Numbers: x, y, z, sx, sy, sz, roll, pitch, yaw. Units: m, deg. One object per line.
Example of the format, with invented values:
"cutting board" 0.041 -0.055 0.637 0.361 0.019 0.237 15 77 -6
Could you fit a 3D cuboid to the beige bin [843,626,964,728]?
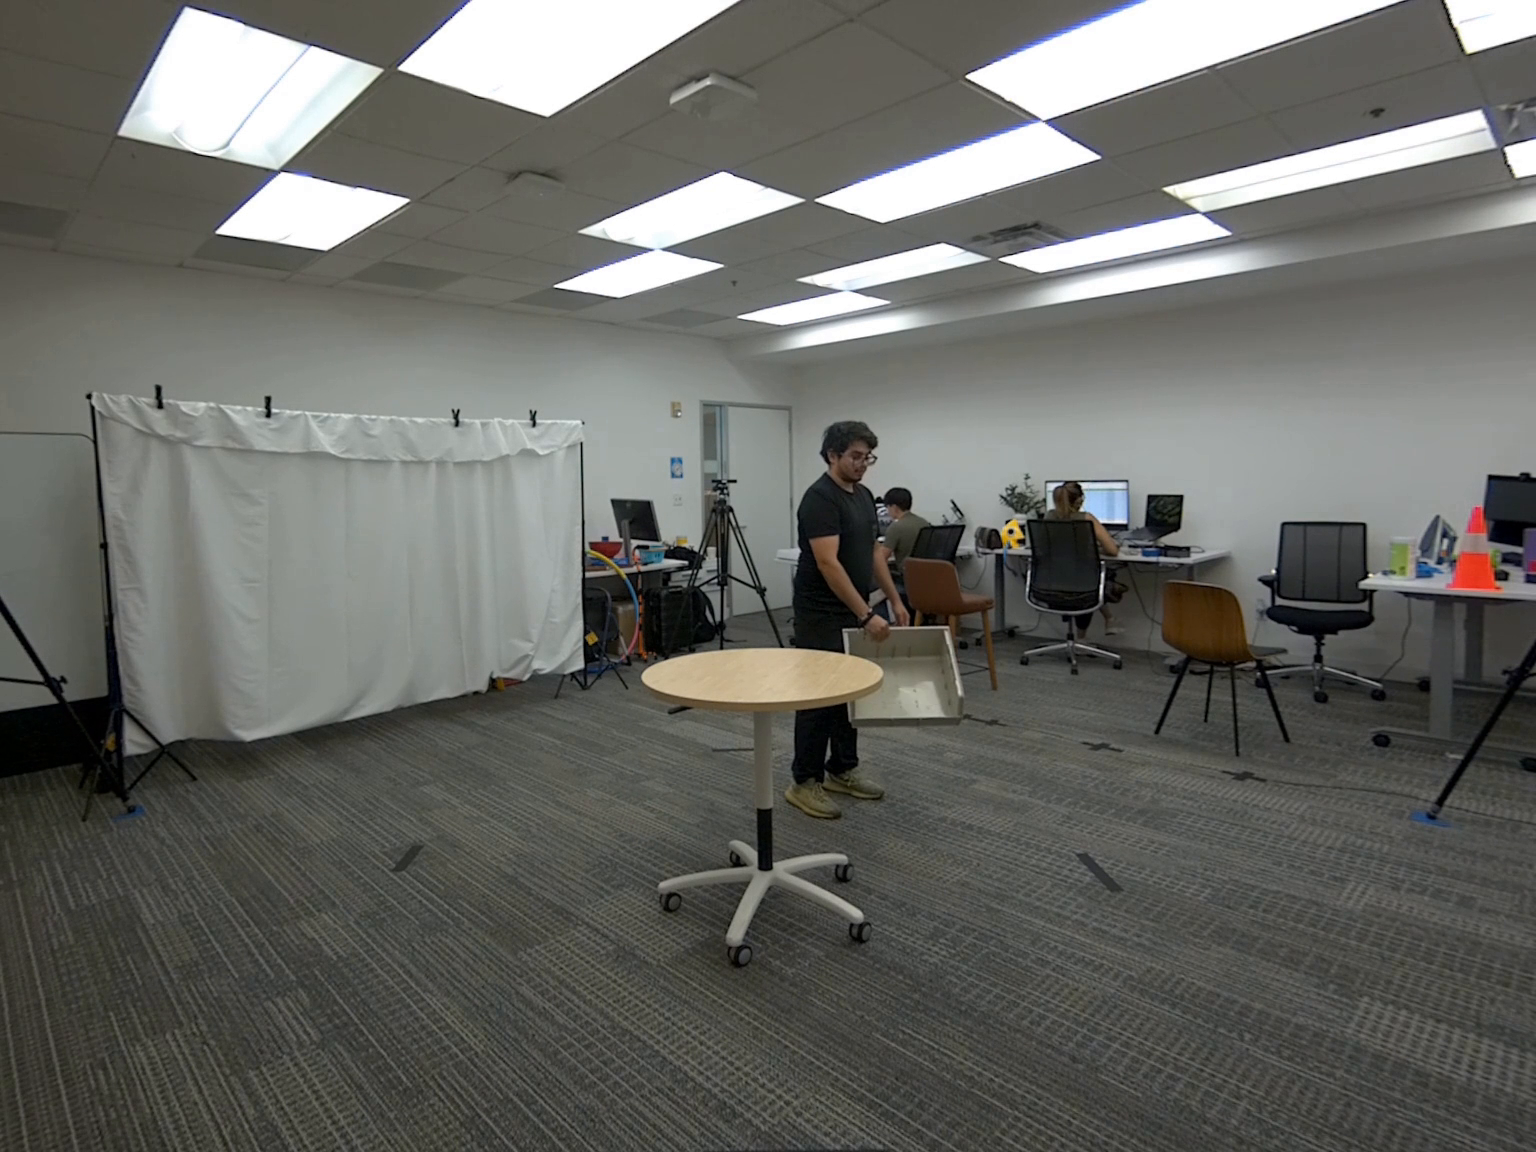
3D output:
"beige bin" 0.519 0.409 3.353 0.424 0.183 0.387 -2 43 4
